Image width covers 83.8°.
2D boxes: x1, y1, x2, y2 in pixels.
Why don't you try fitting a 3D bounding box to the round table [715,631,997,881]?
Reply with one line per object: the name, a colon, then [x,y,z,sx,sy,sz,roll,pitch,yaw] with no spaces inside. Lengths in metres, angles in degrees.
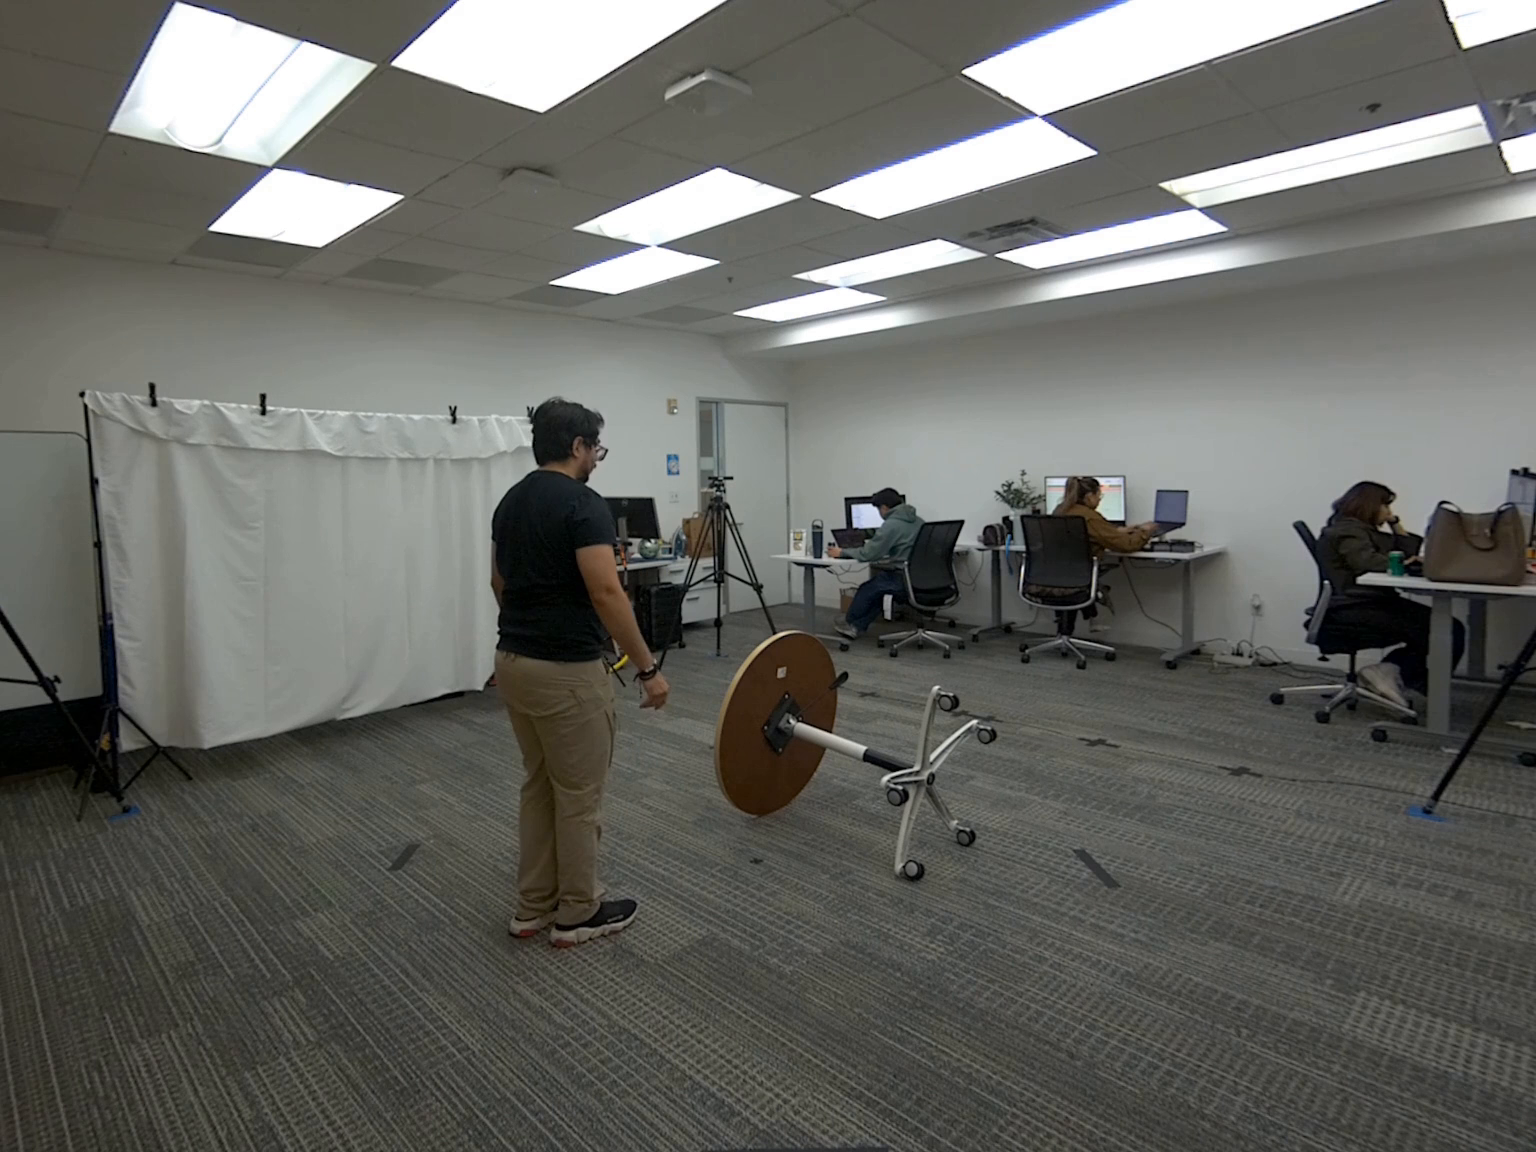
round table: [0.350,0.661,3.272,0.813,0.779,0.765,11,12,40]
